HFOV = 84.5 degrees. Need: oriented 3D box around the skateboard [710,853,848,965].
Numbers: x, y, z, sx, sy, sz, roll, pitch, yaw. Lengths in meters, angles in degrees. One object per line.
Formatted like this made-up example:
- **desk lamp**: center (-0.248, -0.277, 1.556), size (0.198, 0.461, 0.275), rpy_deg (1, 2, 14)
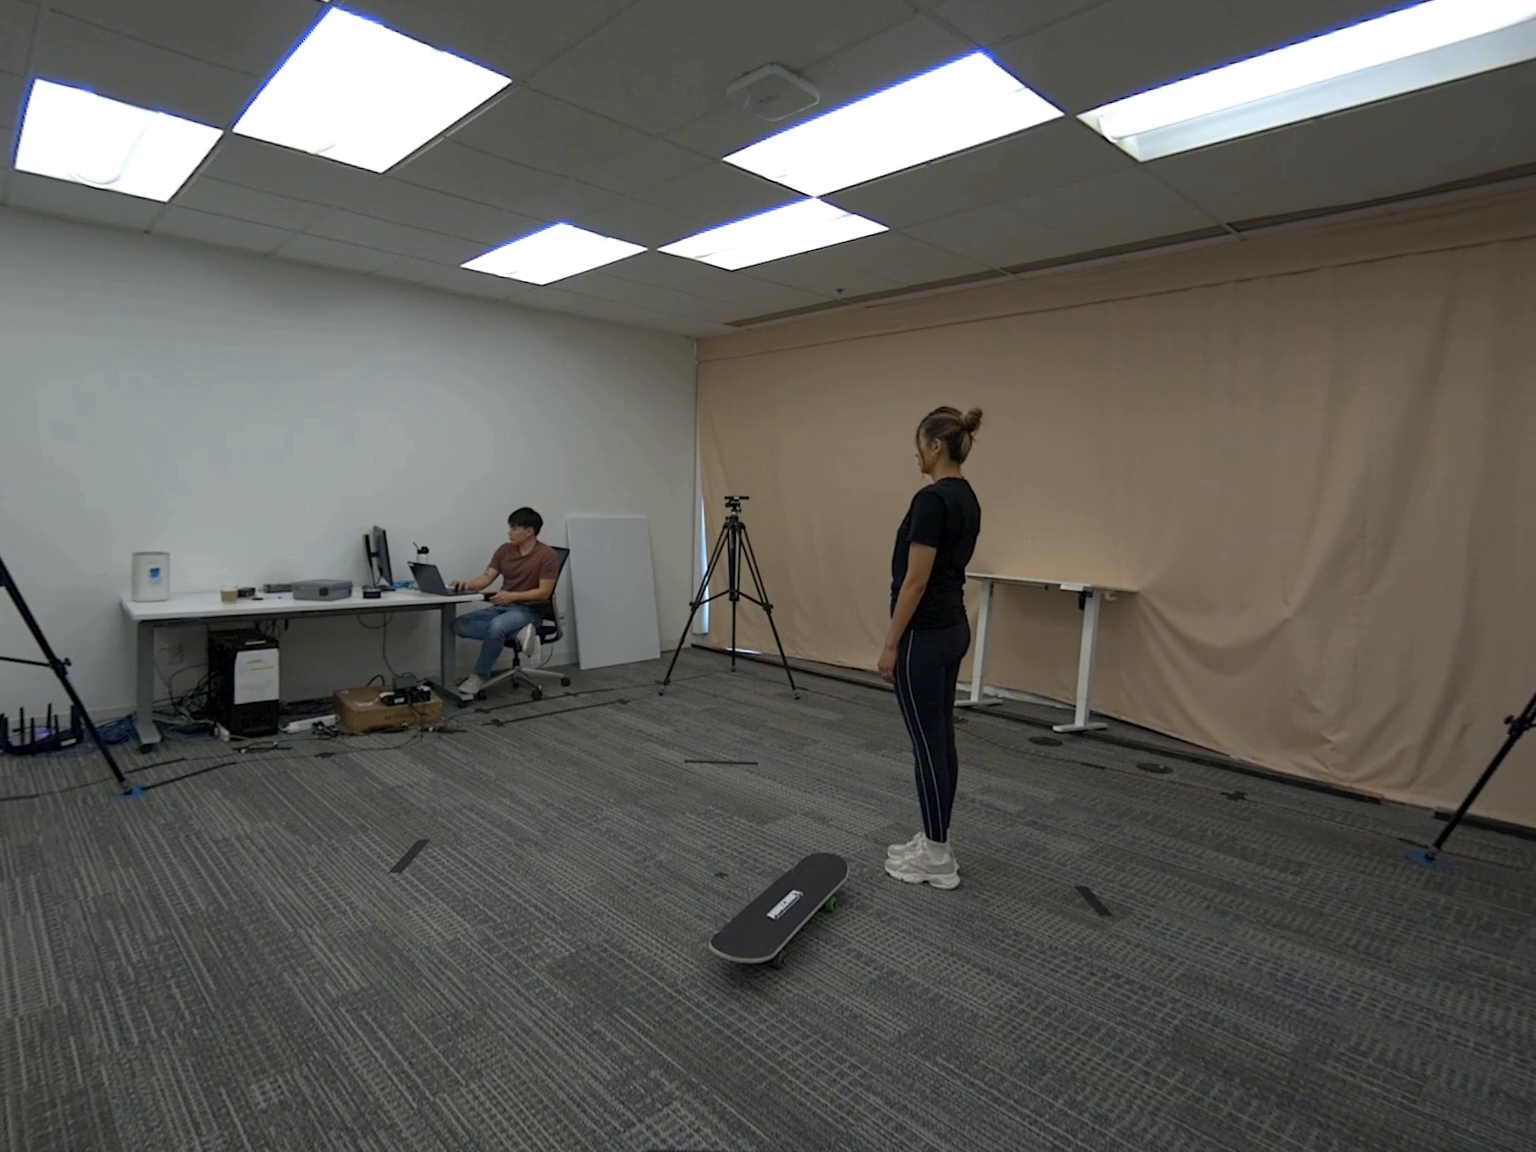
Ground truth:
- **skateboard**: center (0.048, 1.089, 2.702), size (0.197, 0.110, 0.772), rpy_deg (4, 6, 26)
